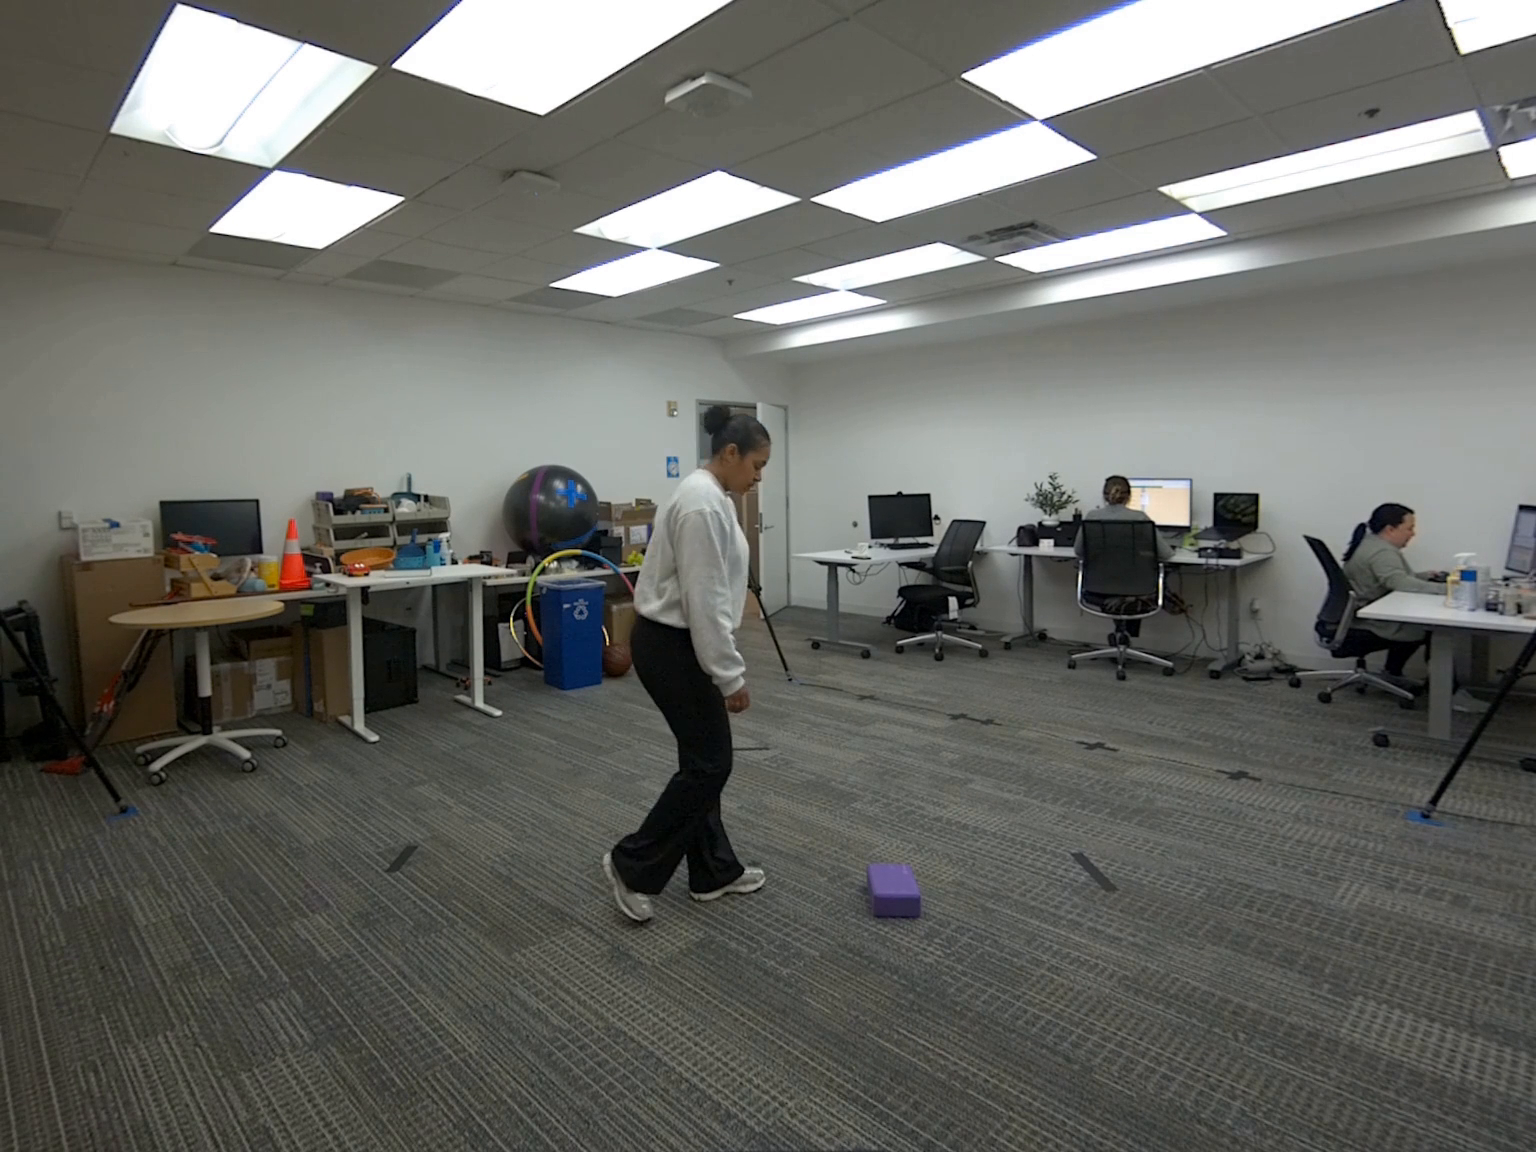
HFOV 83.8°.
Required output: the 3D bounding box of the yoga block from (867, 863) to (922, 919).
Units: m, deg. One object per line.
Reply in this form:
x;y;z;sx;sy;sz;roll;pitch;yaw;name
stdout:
0.408;1.026;2.808;0.149;0.076;0.230;-1;6;2;yoga block
